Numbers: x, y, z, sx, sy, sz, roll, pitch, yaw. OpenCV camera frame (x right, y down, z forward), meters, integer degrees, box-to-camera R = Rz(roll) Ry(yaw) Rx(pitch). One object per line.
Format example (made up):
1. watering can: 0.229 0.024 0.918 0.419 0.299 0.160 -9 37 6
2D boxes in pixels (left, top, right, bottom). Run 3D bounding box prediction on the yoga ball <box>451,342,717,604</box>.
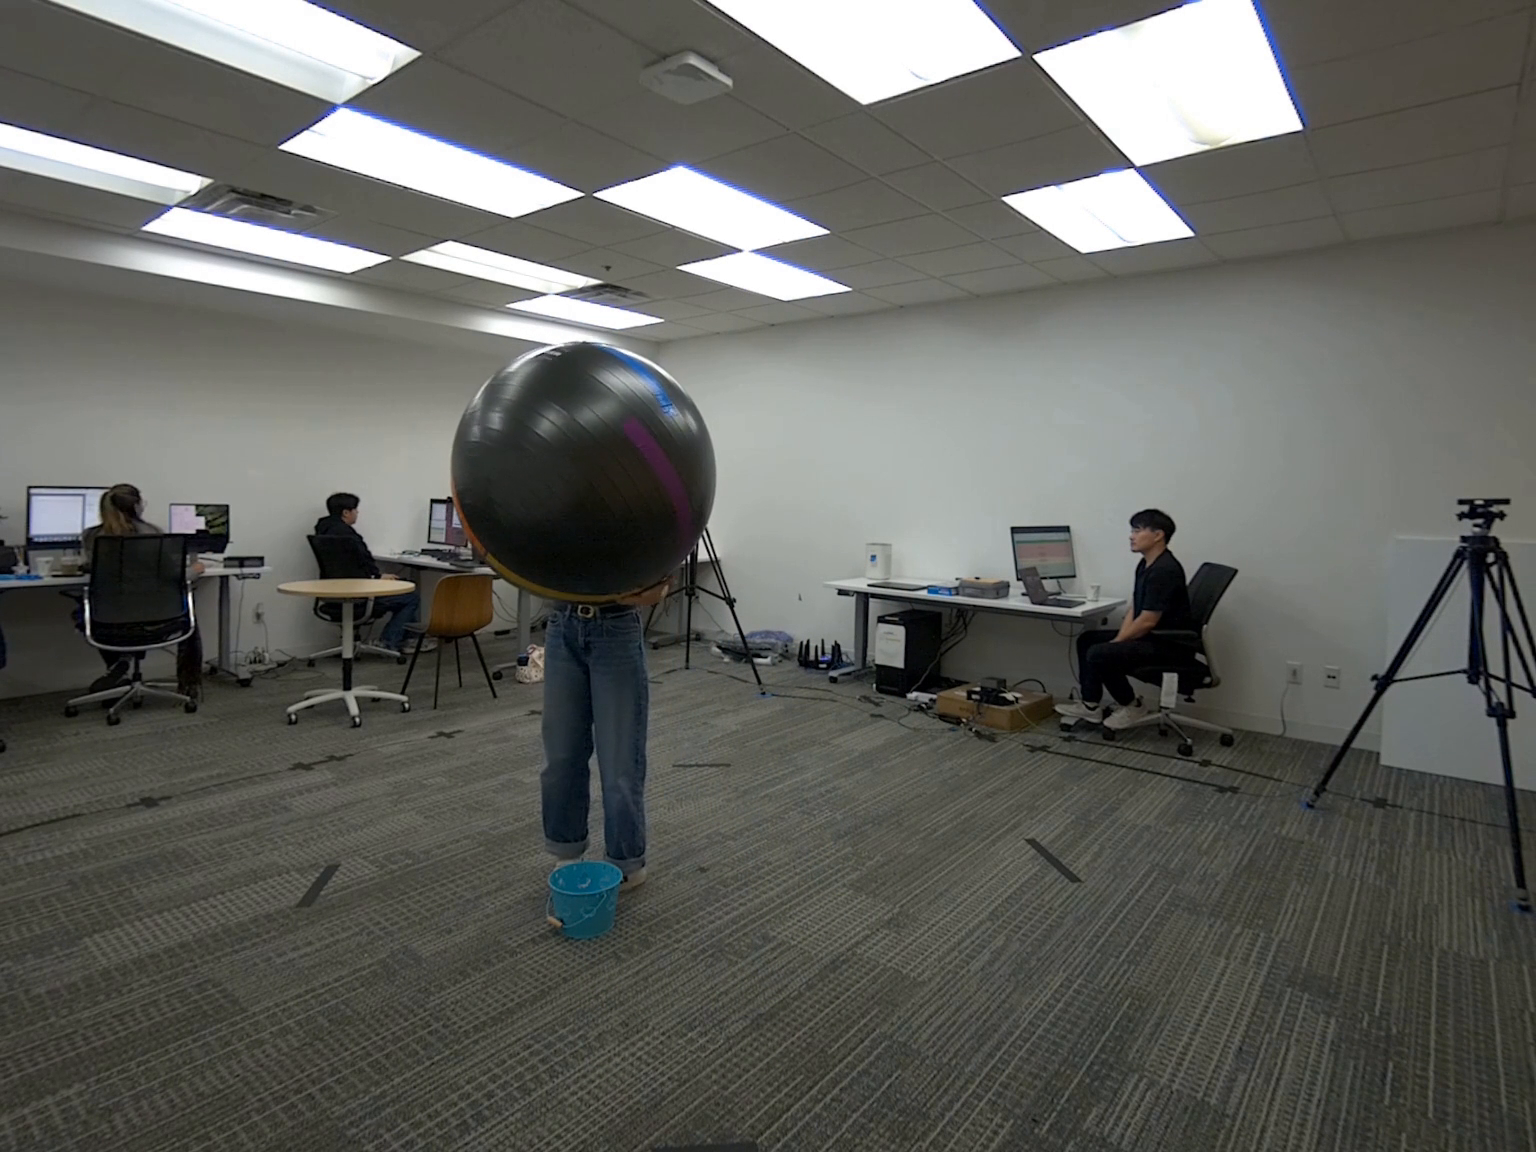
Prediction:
1. yoga ball: -0.545 -0.287 2.460 0.757 0.755 0.762 1 4 -2
